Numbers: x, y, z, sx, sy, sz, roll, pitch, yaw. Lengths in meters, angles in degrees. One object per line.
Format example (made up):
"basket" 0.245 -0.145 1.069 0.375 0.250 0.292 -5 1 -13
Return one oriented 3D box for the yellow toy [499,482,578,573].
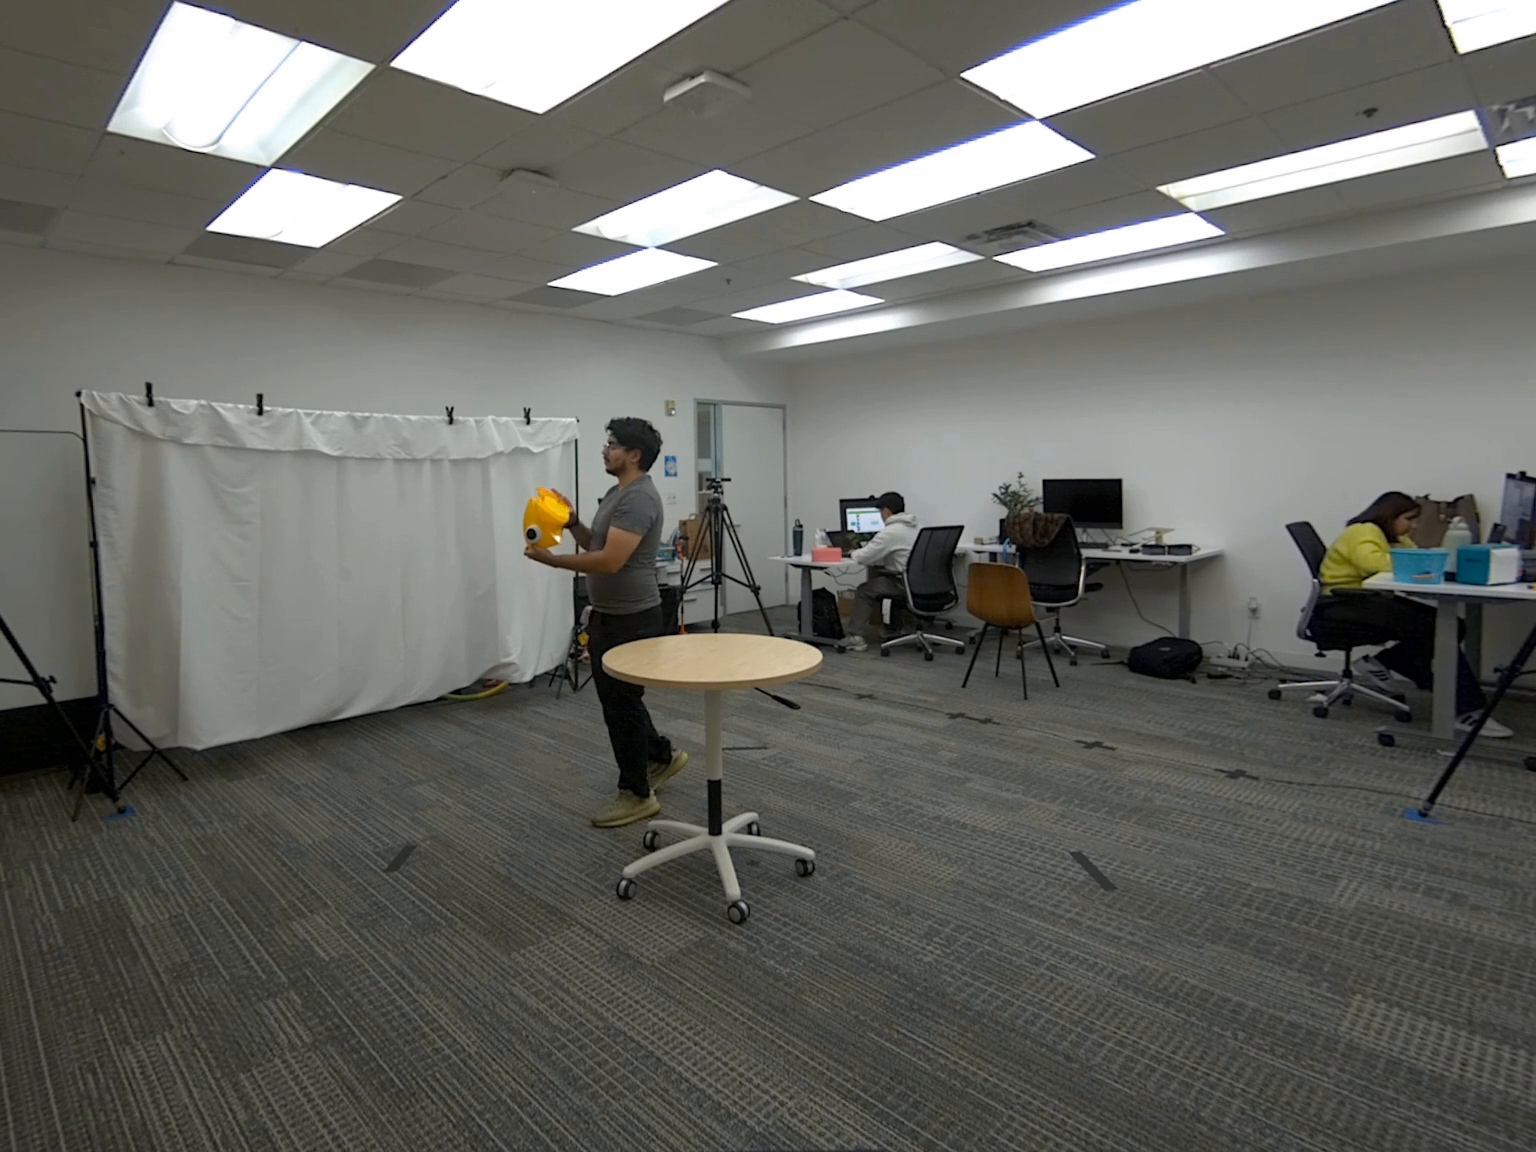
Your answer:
"yellow toy" -0.910 -0.195 3.406 0.188 0.231 0.211 37 15 -24
